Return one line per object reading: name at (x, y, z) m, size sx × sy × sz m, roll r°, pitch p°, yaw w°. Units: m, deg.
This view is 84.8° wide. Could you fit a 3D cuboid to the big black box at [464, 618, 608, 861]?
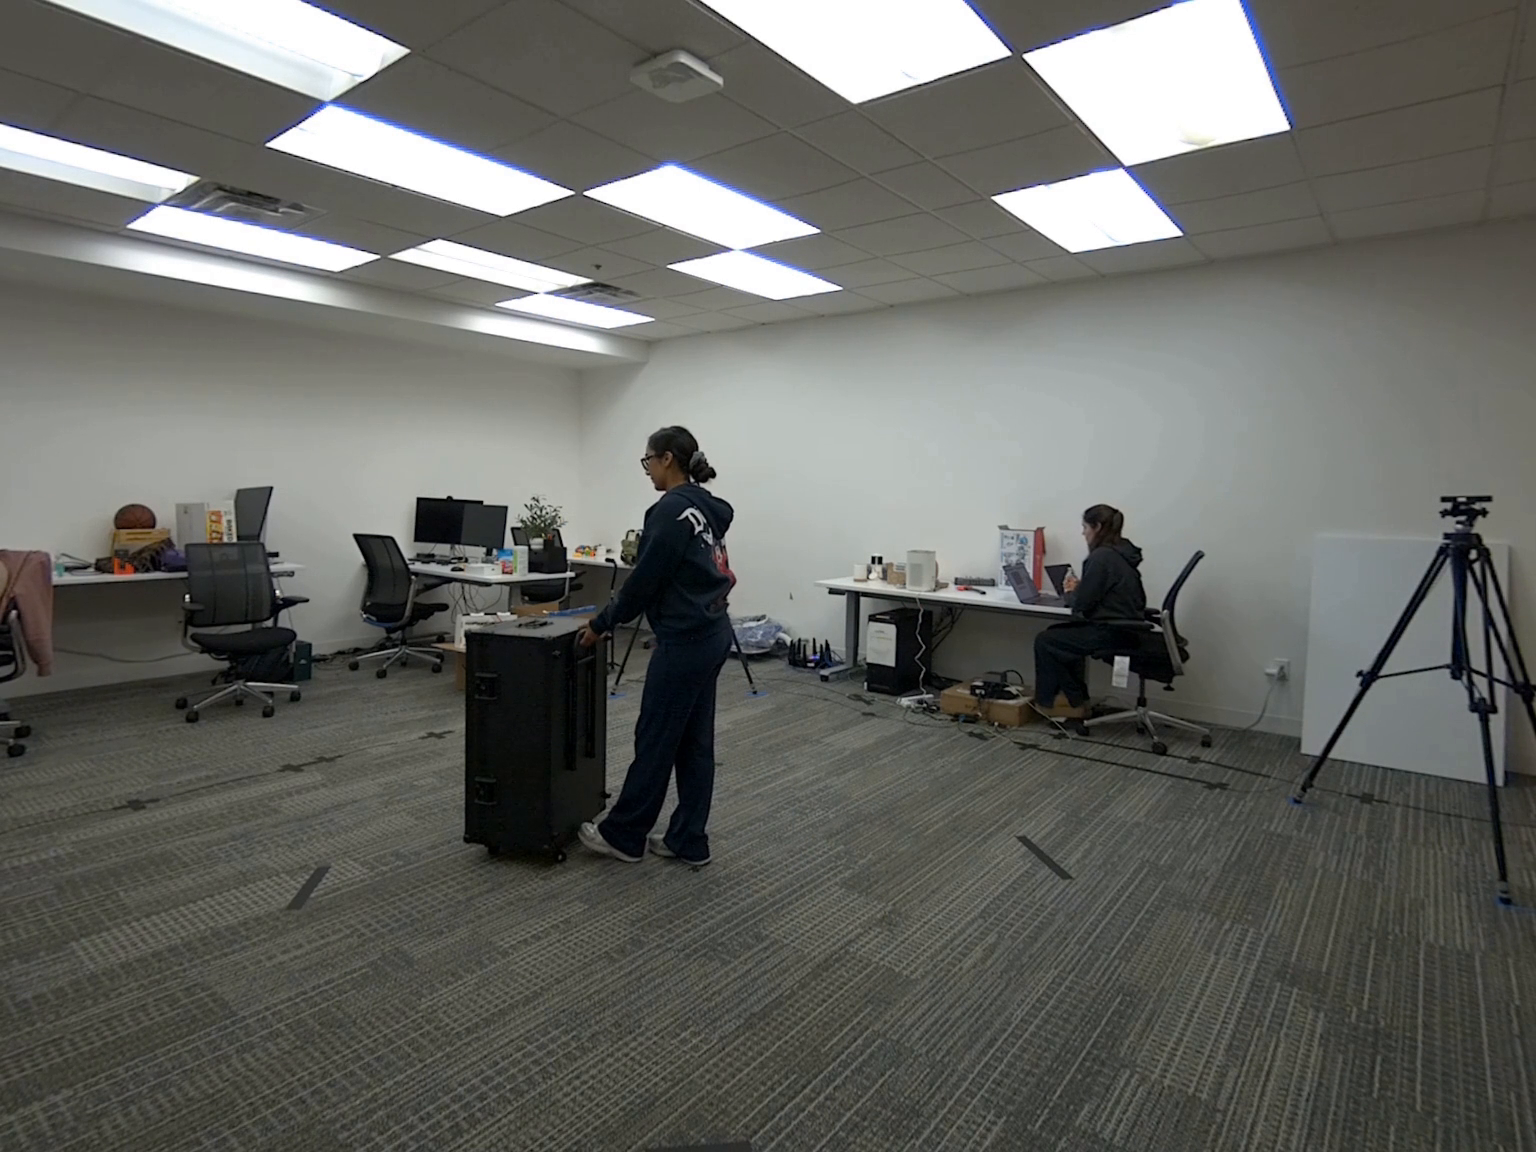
big black box at (-0.888, 0.615, 3.304) m, size 0.403 × 0.860 × 0.513 m, roll 3°, pitch 3°, yaw 14°
